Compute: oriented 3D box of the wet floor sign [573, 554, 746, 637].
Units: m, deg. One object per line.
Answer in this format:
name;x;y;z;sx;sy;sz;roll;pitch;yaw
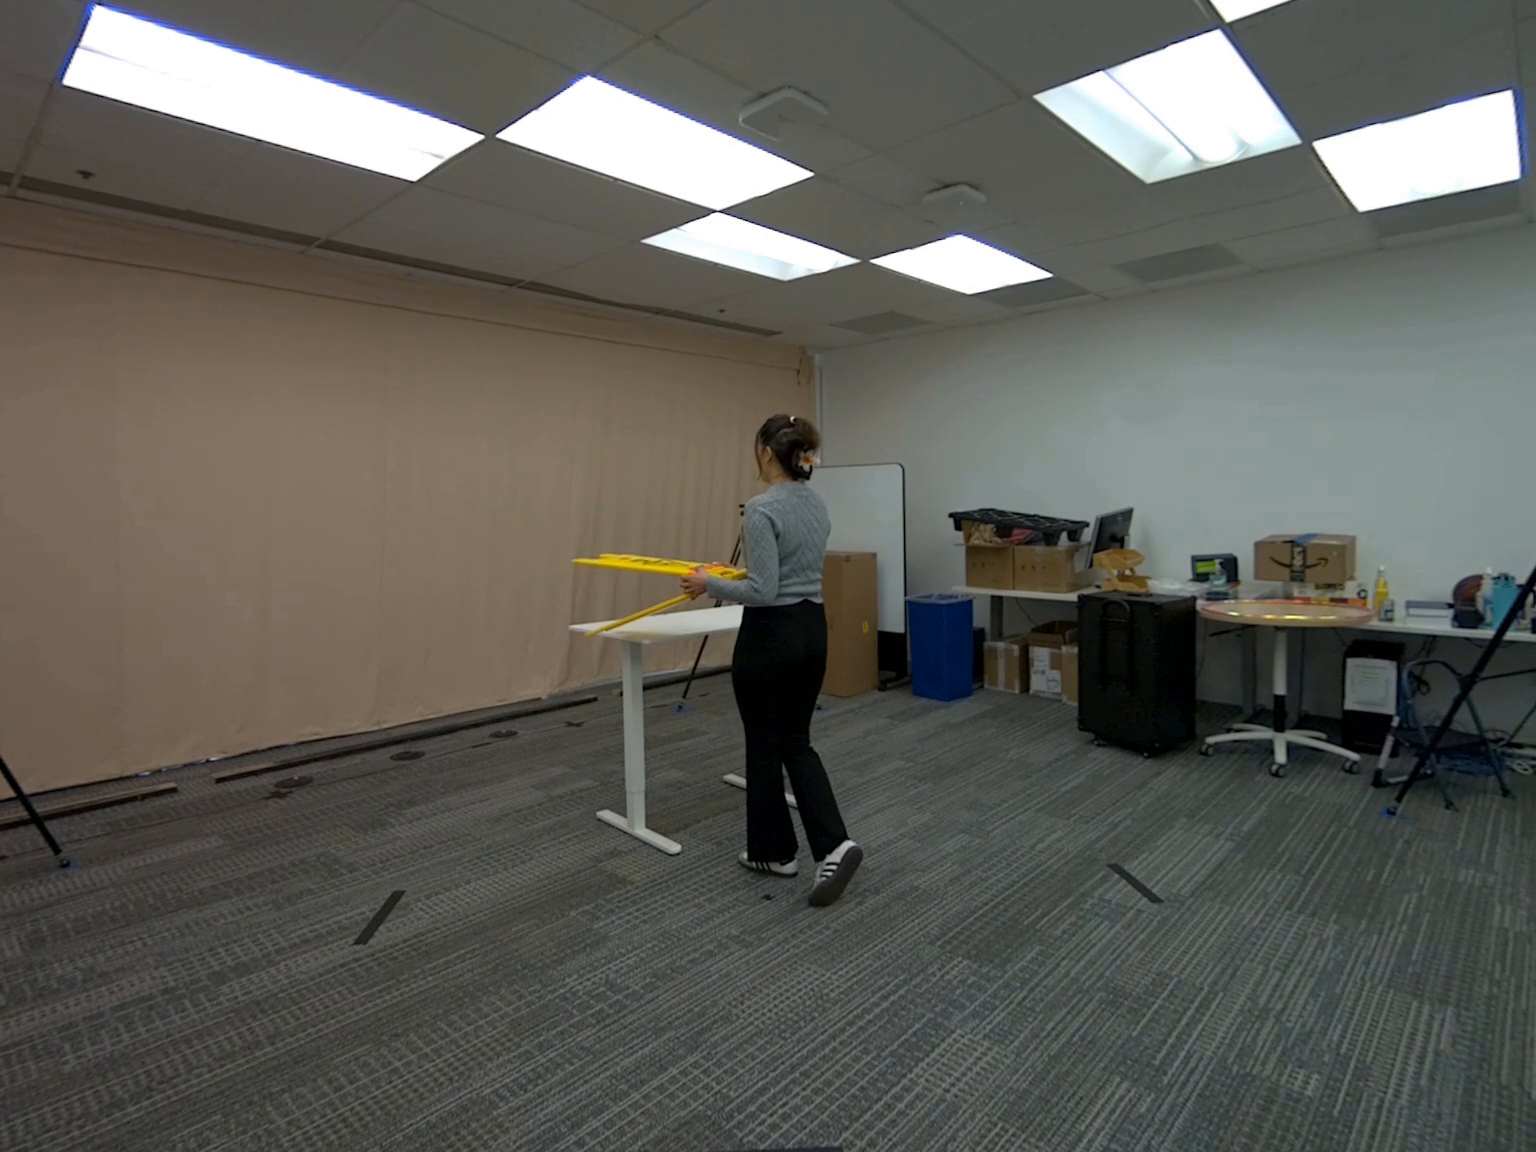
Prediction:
wet floor sign;-0.393;0.035;3.232;0.660;0.289;0.277;-8;3;23
